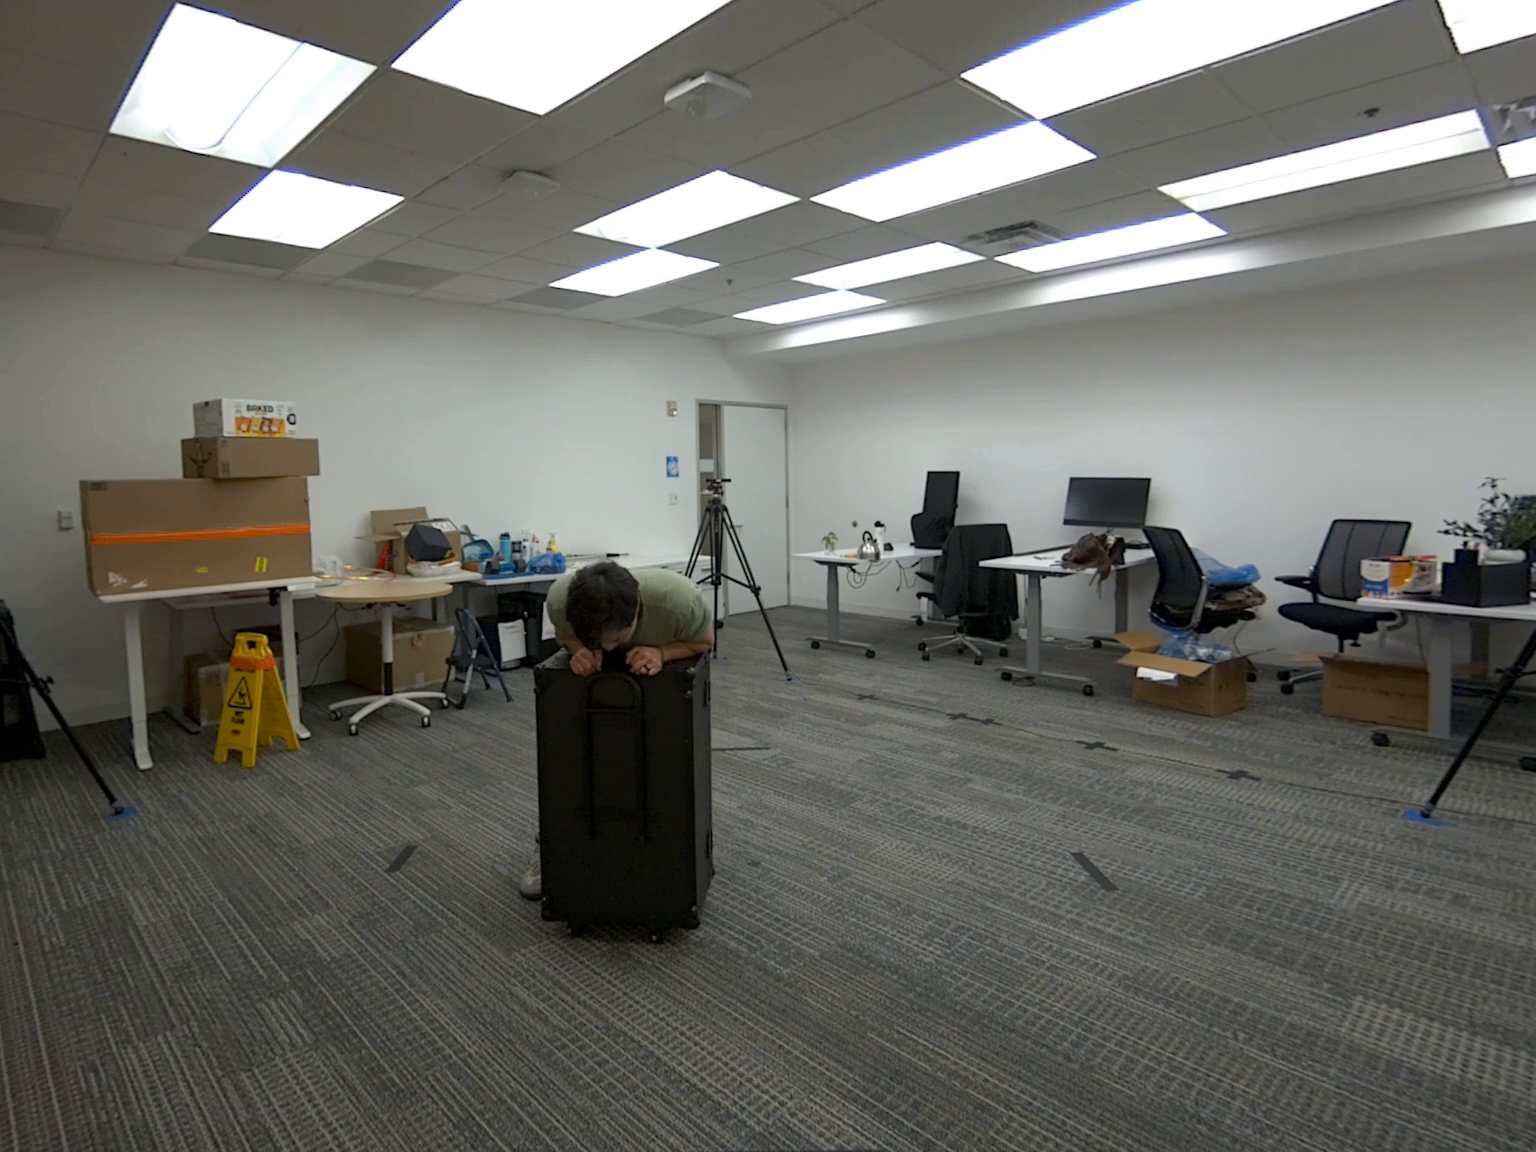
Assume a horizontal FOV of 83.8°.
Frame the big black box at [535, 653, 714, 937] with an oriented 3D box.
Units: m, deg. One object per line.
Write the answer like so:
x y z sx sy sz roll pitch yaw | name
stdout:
-0.426 0.677 2.686 0.524 0.857 0.396 0 5 5 | big black box
